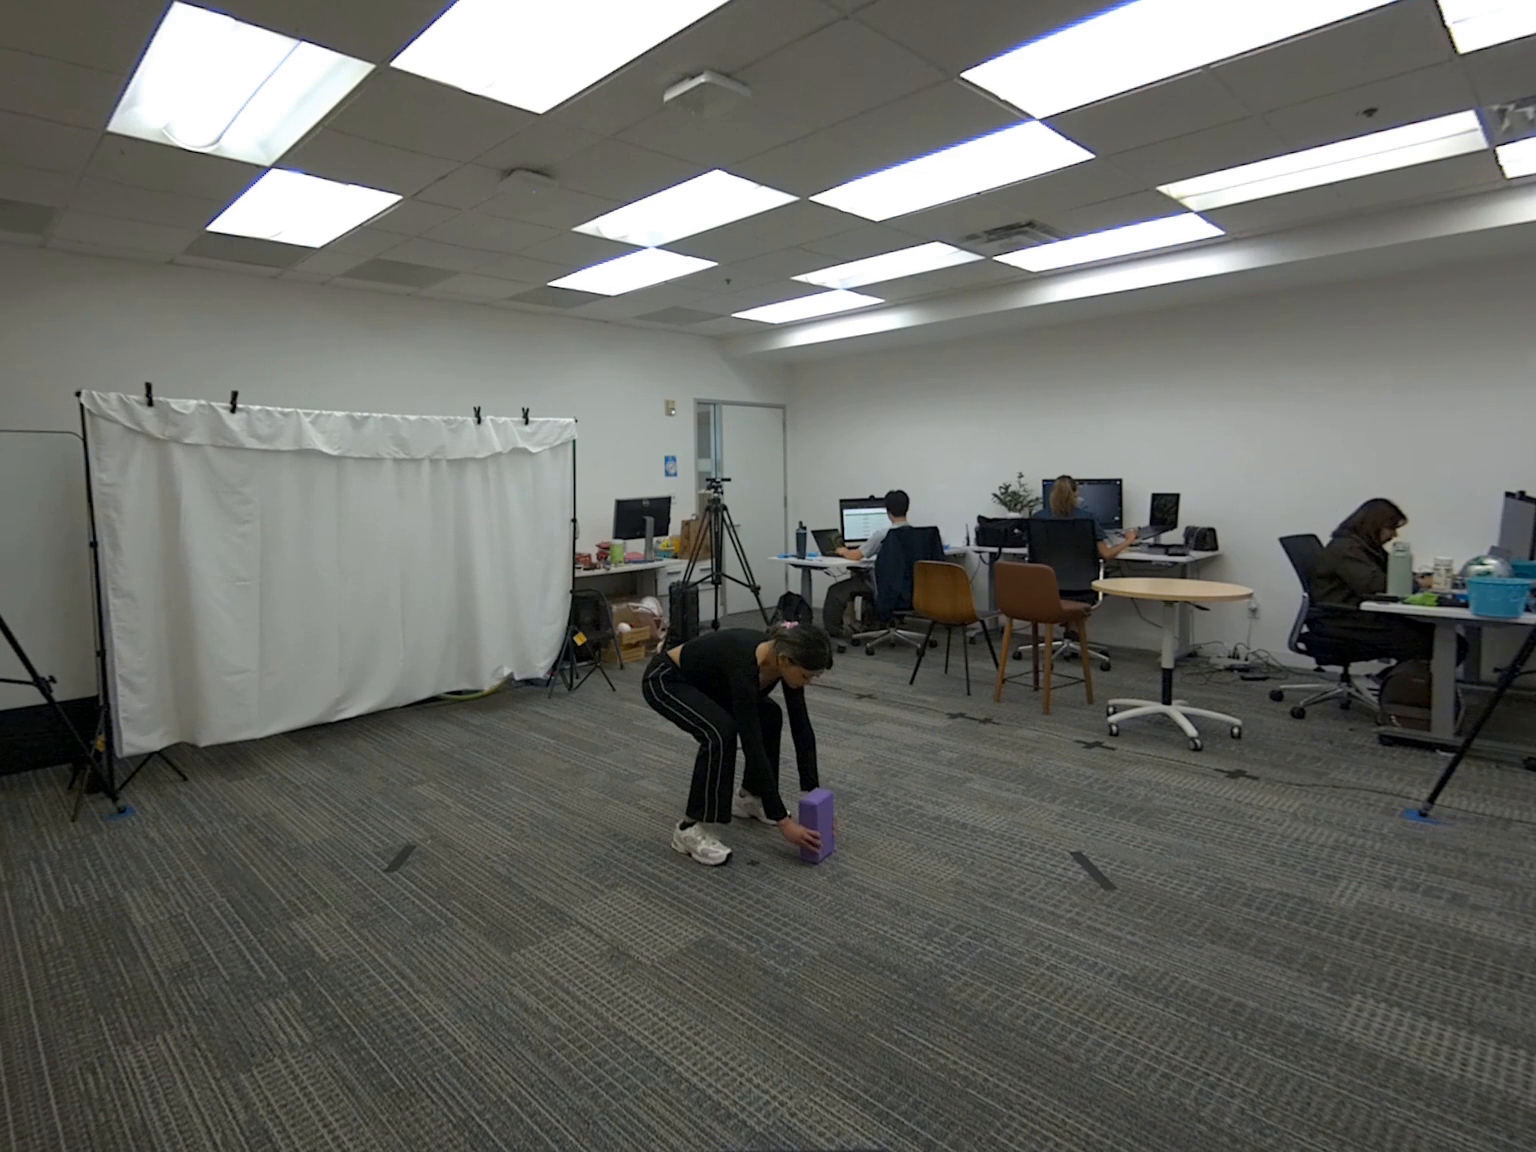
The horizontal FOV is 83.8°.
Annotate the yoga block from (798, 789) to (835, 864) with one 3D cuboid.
[{"bbox_3d":[0.178,0.902,3.145,0.078,0.228,0.146,2,5,27],"label":"yoga block"}]
